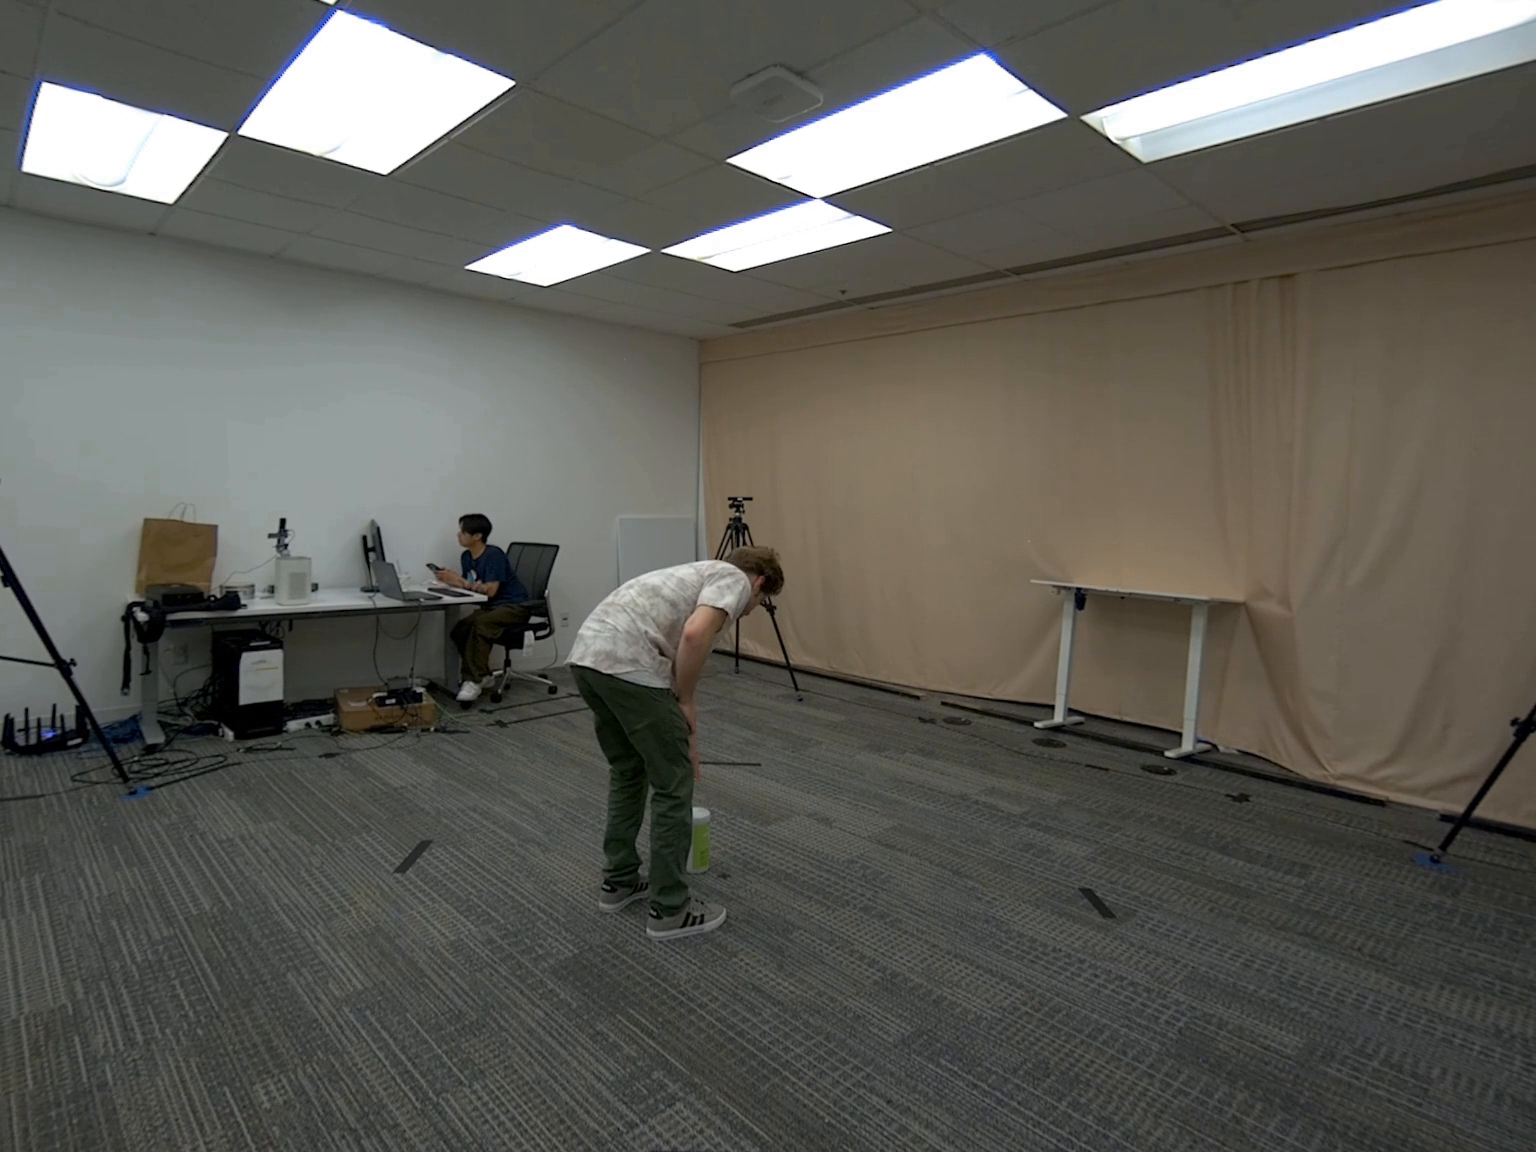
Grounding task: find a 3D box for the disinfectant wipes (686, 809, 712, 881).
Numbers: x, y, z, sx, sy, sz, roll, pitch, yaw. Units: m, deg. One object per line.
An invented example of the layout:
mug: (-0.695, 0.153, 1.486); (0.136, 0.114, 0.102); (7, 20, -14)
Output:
disinfectant wipes: (-0.277, 0.998, 3.155); (0.118, 0.217, 0.118); (2, 1, -1)
